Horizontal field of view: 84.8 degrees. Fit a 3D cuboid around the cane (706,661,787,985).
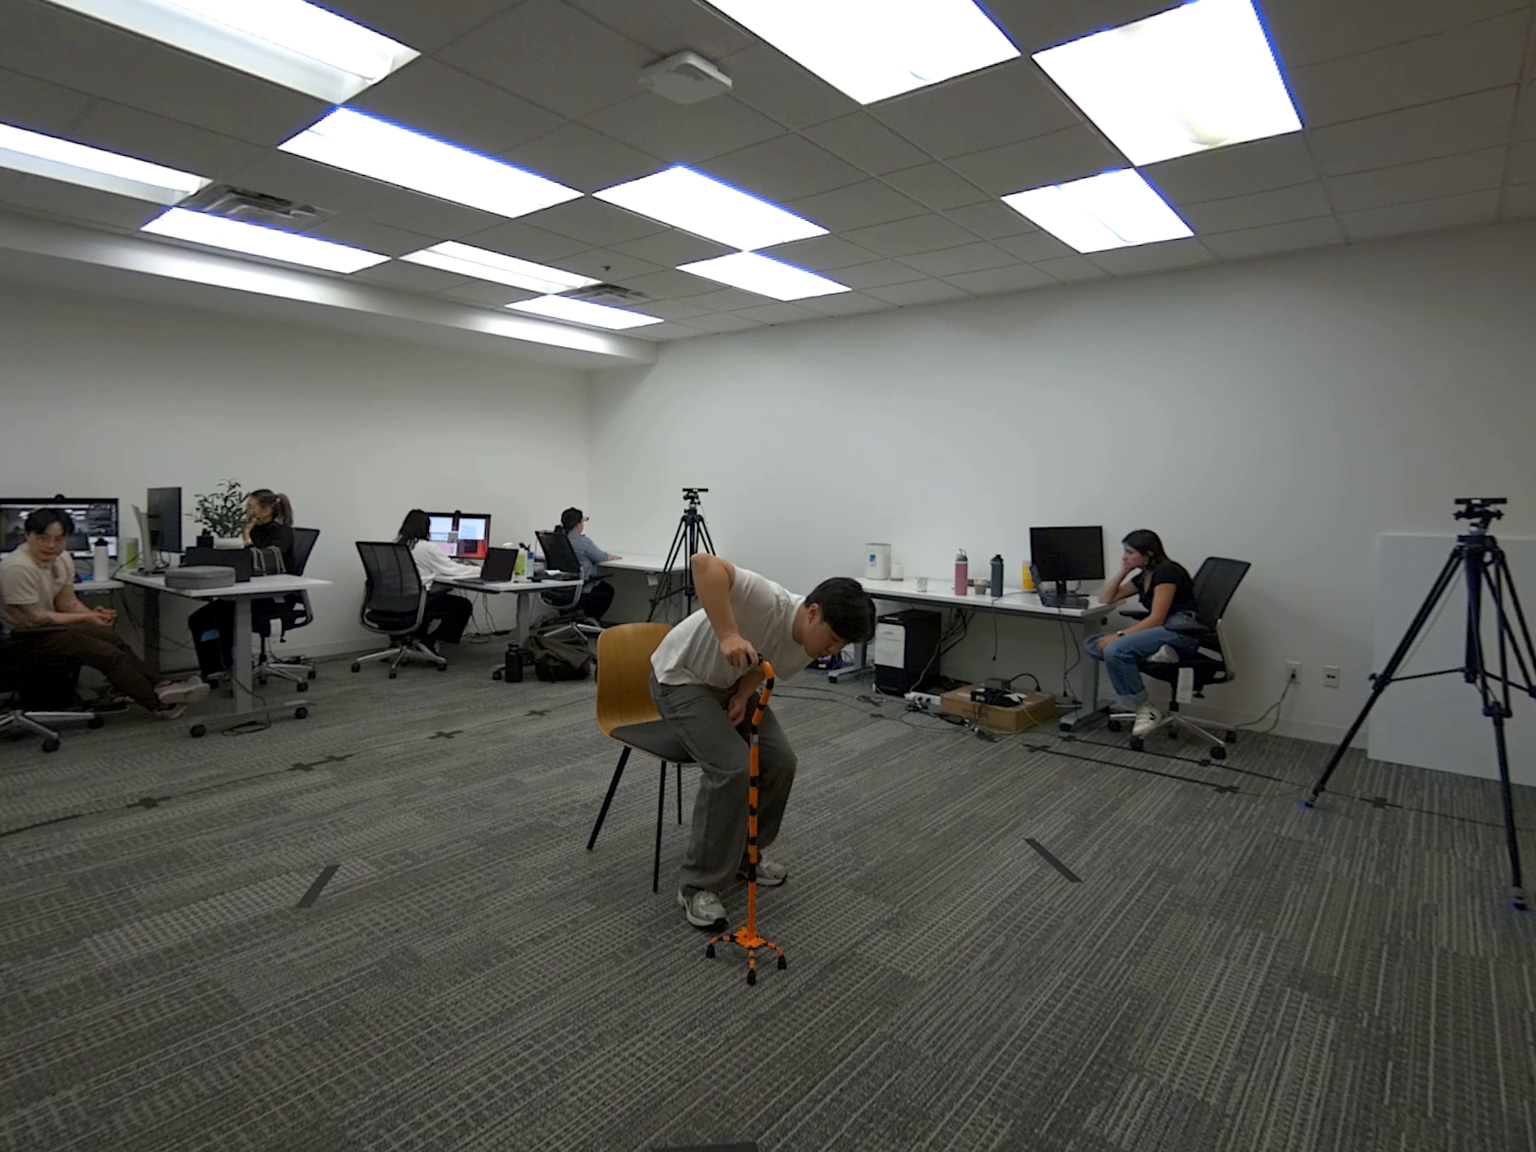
[{"bbox_3d":[-0.053,0.670,2.482,0.213,0.905,0.147,5,5,44],"label":"cane"}]
